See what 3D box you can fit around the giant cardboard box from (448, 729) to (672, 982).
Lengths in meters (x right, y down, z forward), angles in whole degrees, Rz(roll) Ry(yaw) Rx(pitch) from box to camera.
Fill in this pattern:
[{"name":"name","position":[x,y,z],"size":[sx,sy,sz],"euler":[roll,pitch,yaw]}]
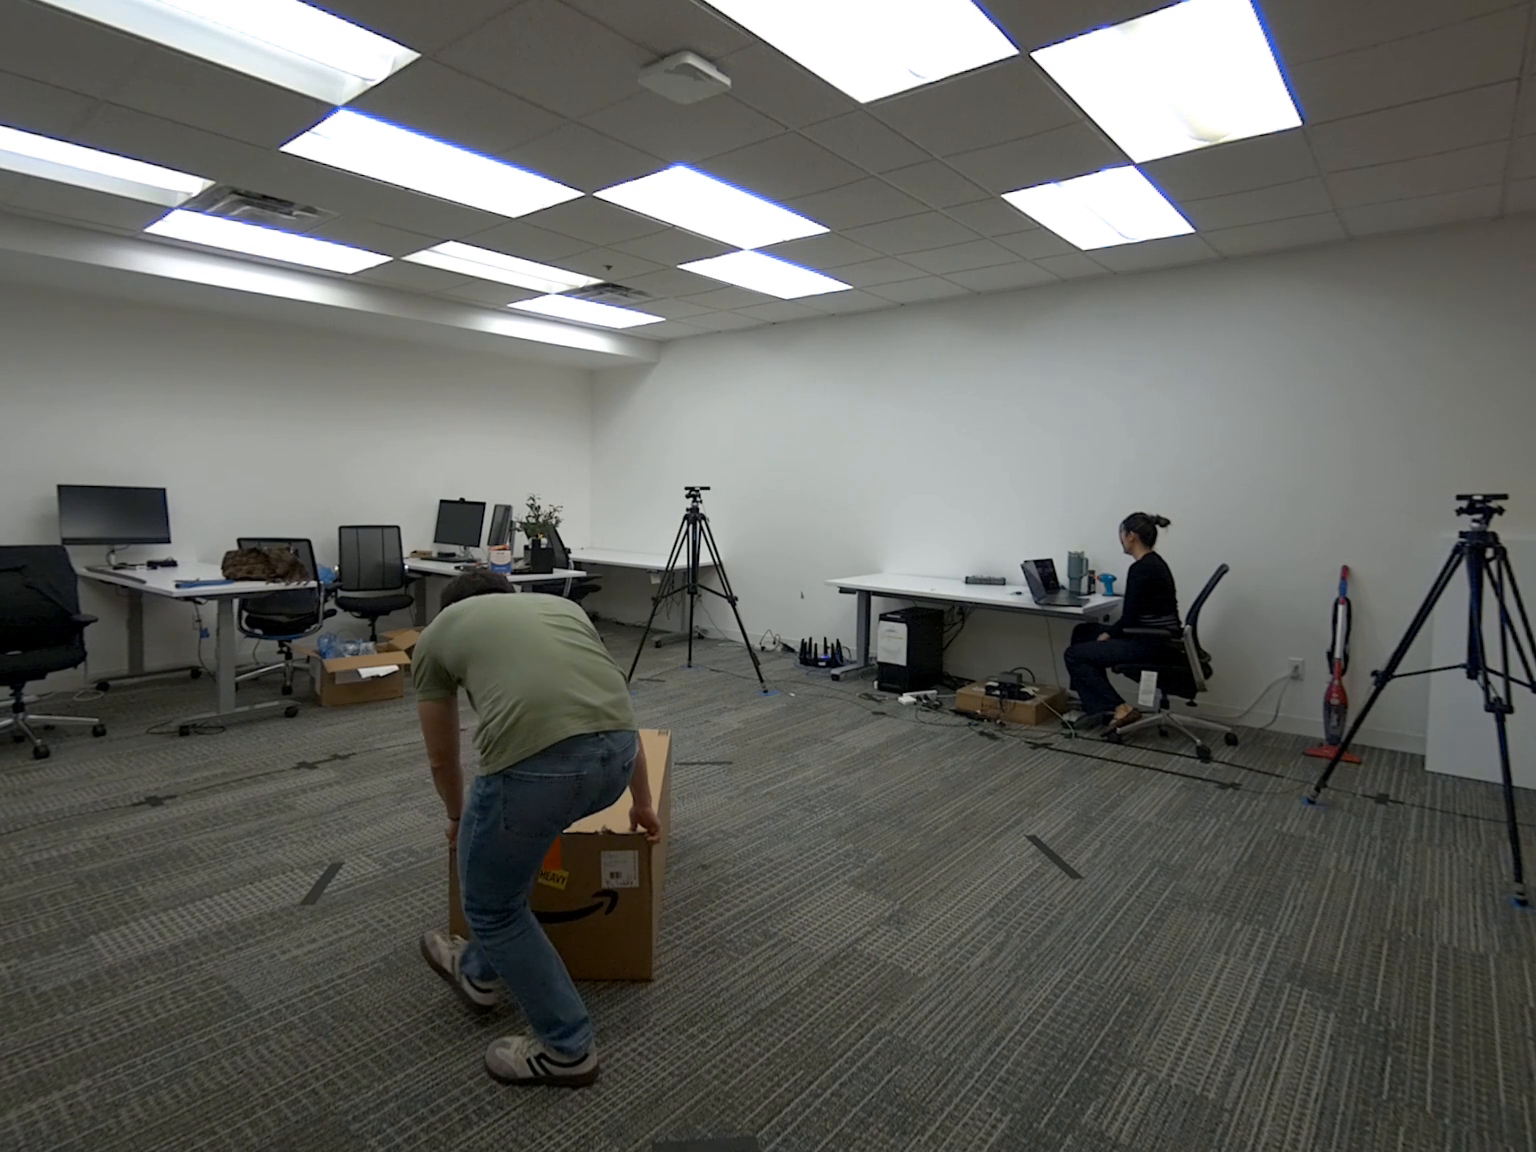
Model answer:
[{"name":"giant cardboard box","position":[-0.644,0.863,2.882],"size":[0.576,0.424,1.033],"euler":[0,6,-3]}]
